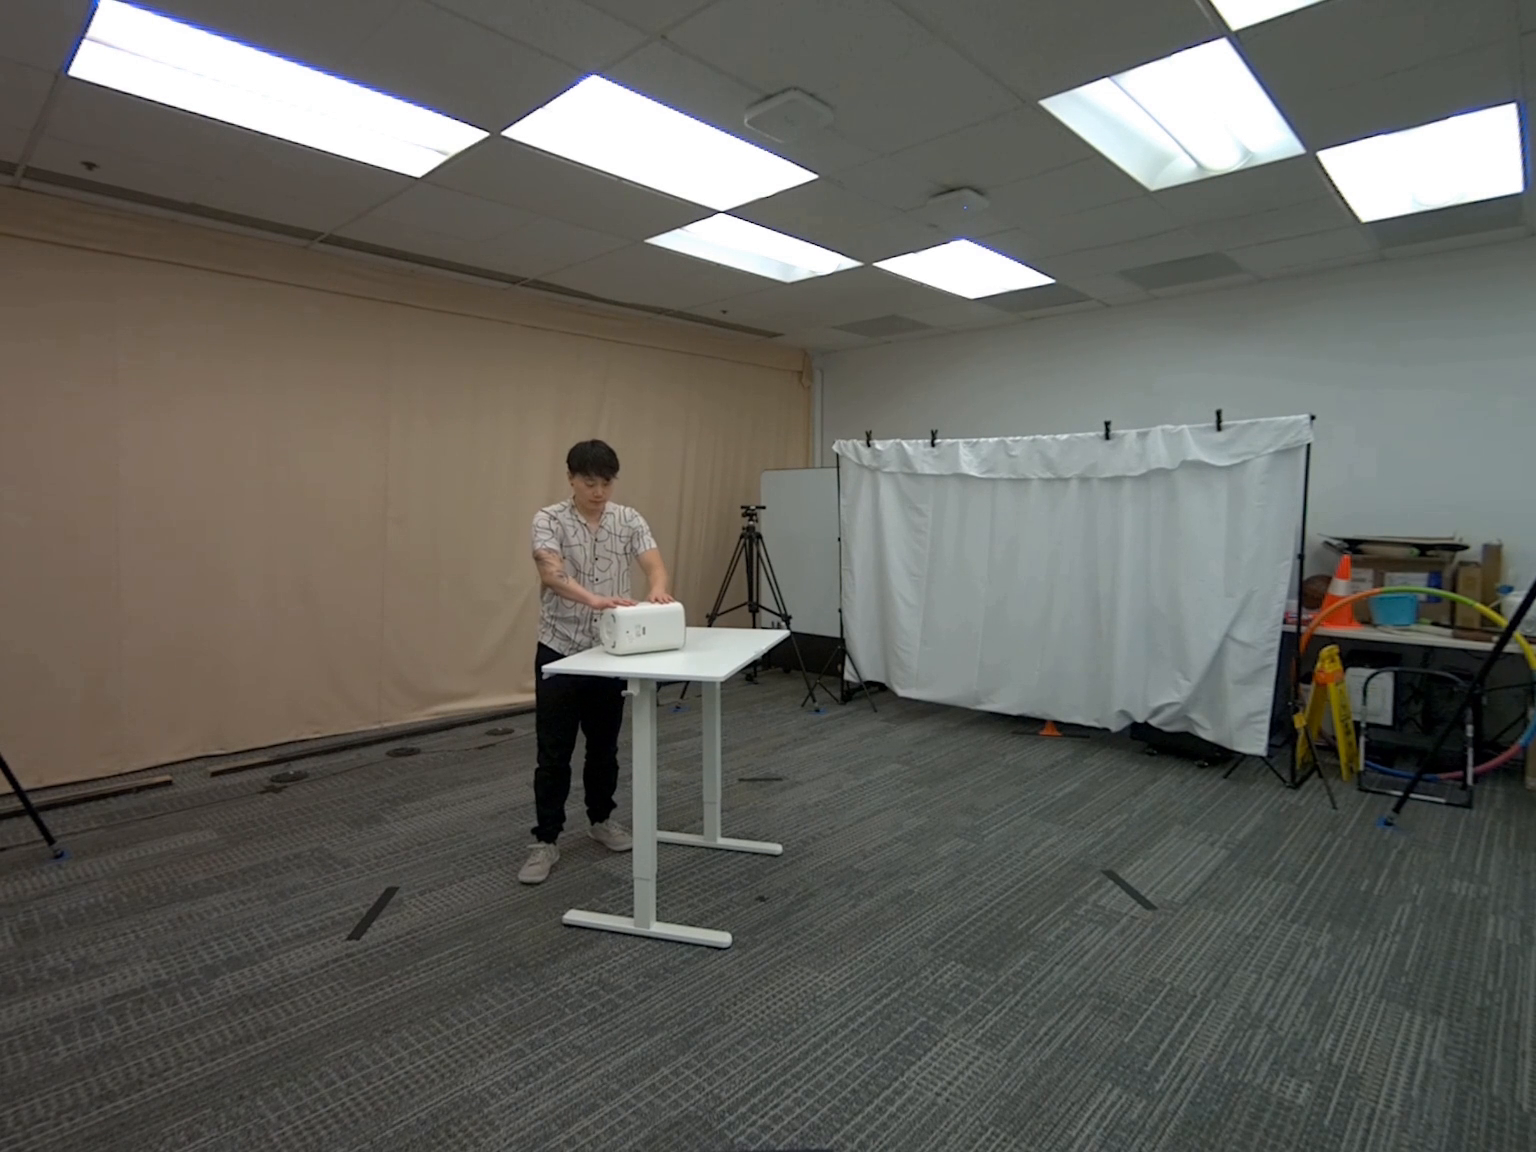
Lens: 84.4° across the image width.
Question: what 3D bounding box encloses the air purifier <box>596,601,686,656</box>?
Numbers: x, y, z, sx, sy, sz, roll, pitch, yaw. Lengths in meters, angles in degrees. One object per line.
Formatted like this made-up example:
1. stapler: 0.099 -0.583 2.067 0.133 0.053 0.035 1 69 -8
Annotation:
1. air purifier: -0.443 0.181 2.956 0.258 0.171 0.177 -3 4 -35
